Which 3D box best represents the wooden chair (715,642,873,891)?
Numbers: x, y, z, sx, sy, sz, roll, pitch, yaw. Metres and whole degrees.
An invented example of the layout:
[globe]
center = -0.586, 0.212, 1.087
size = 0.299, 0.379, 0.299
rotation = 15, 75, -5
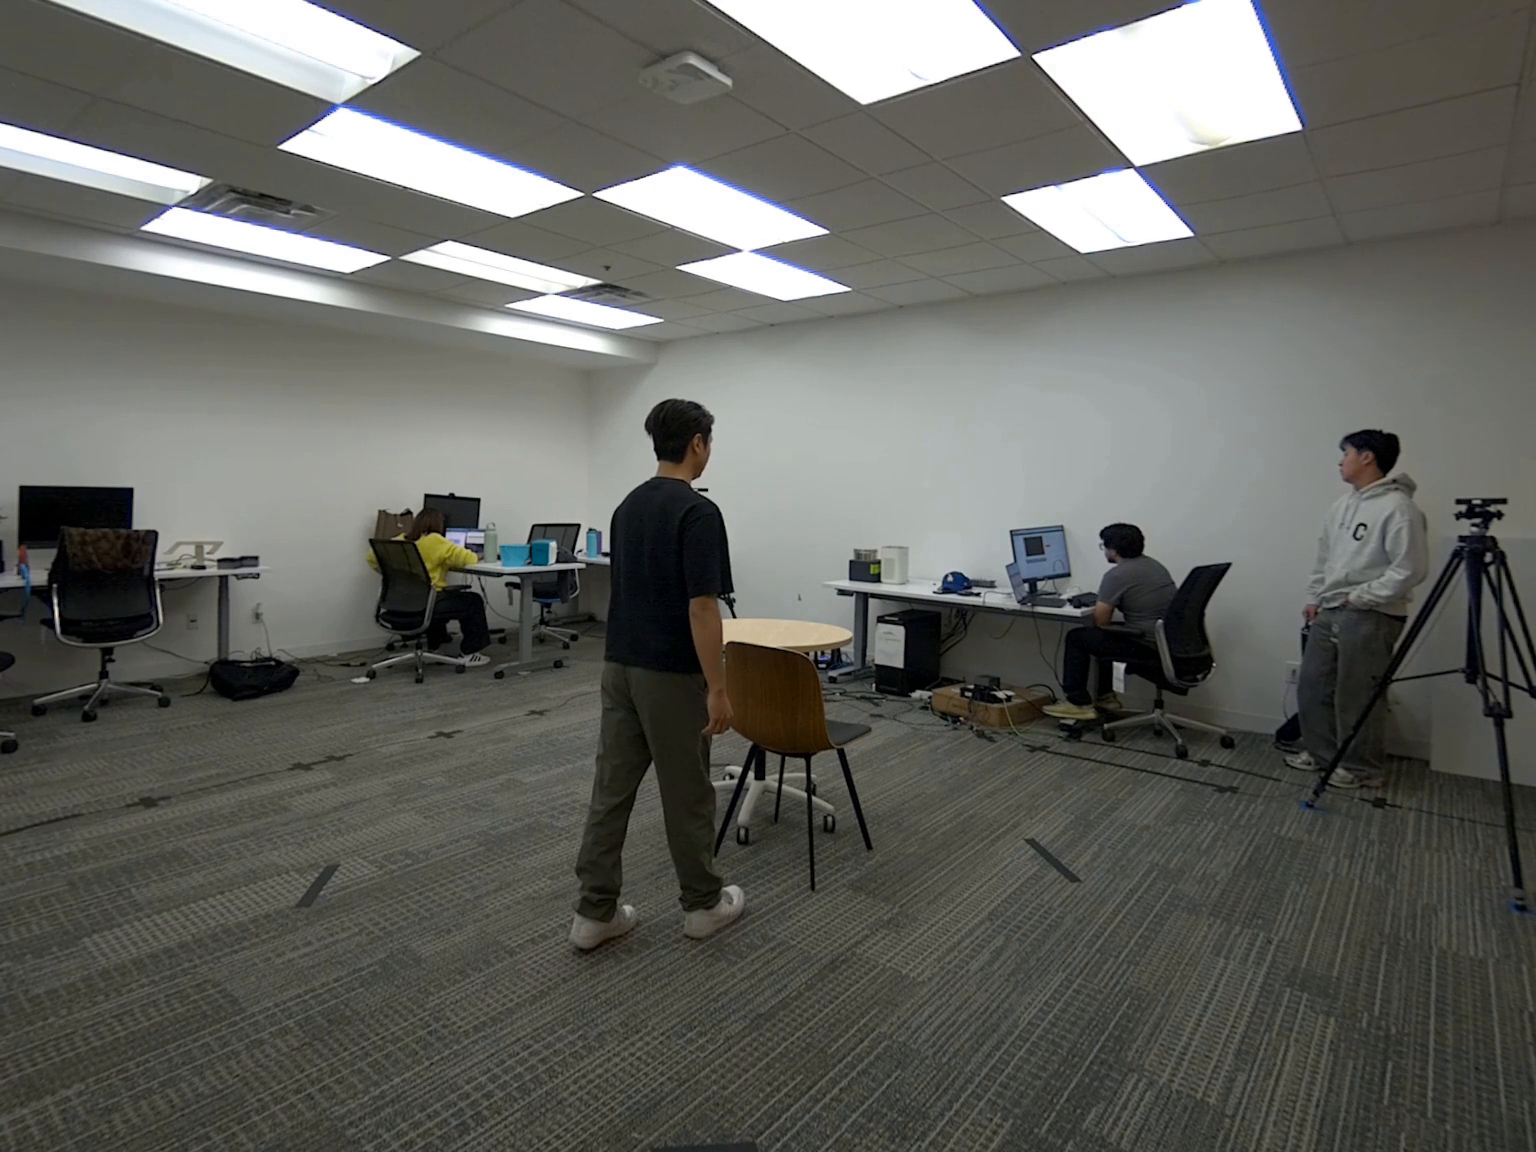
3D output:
[wooden chair]
center = 0.099, 0.632, 3.247
size = 0.493, 0.871, 0.510
rotation = 4, 9, 35
